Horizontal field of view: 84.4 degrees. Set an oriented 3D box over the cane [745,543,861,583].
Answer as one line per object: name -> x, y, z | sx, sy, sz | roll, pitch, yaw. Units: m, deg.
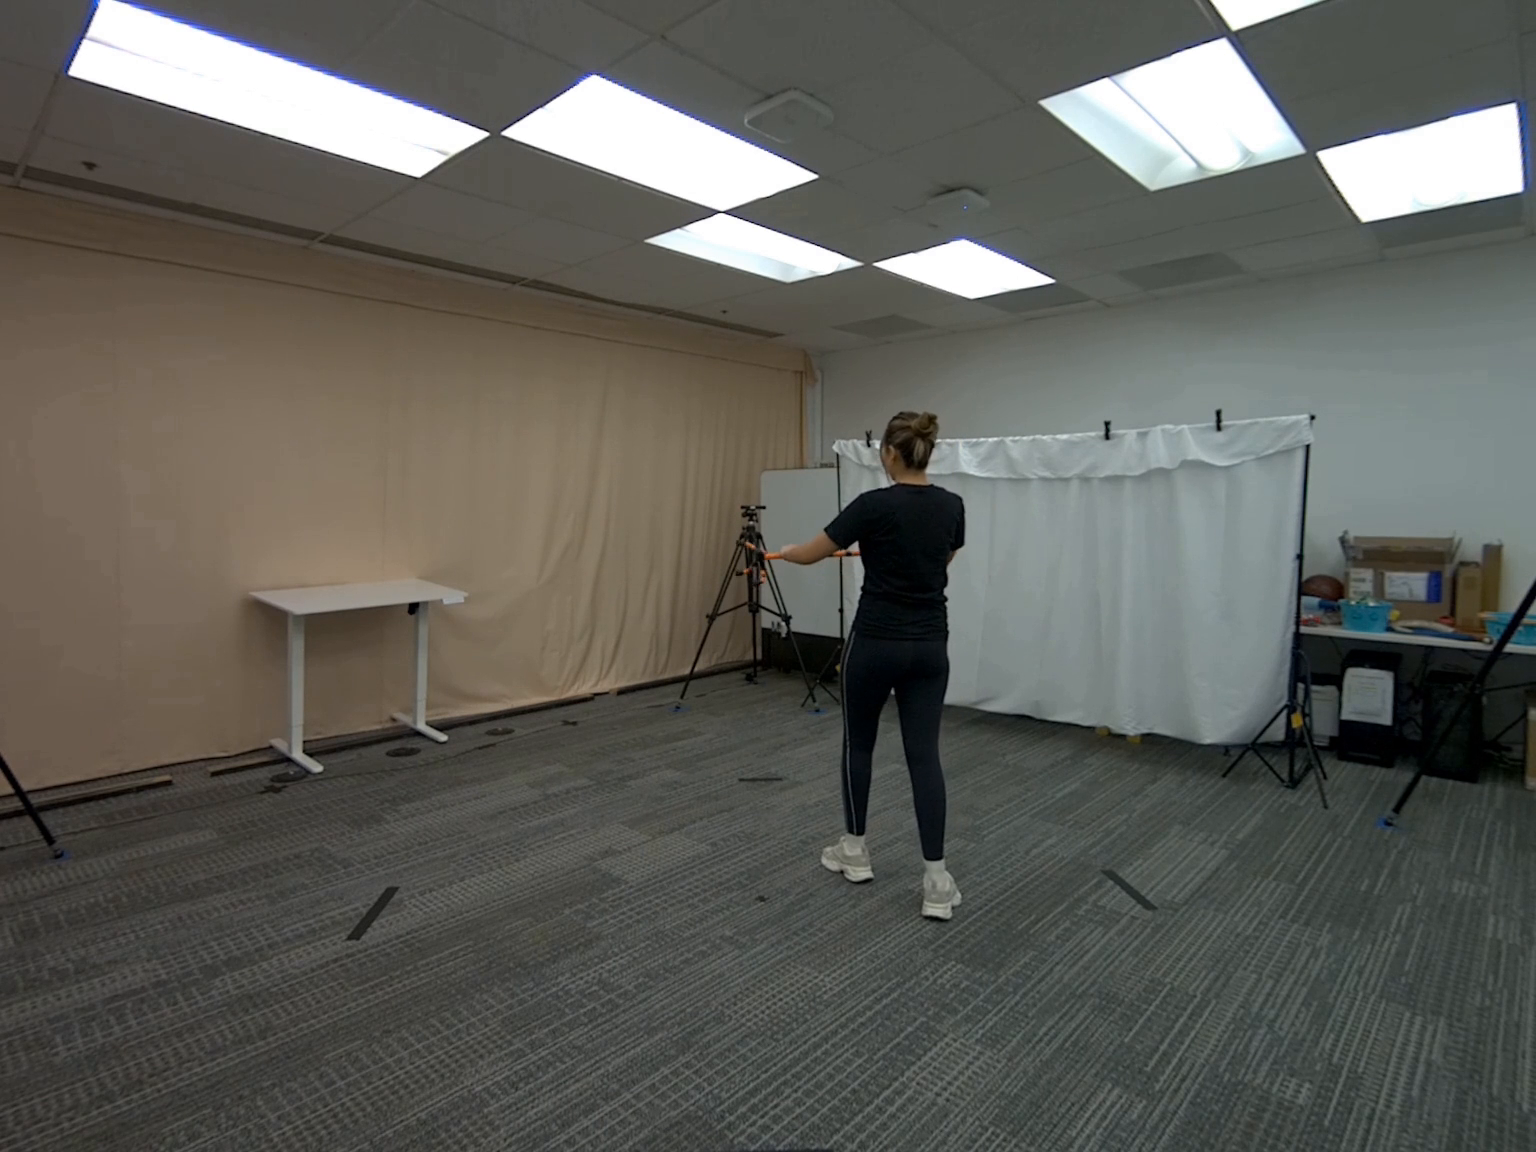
cane -> 0.331, -0.087, 3.473 | 0.897, 0.151, 0.210 | -2, 6, -12
